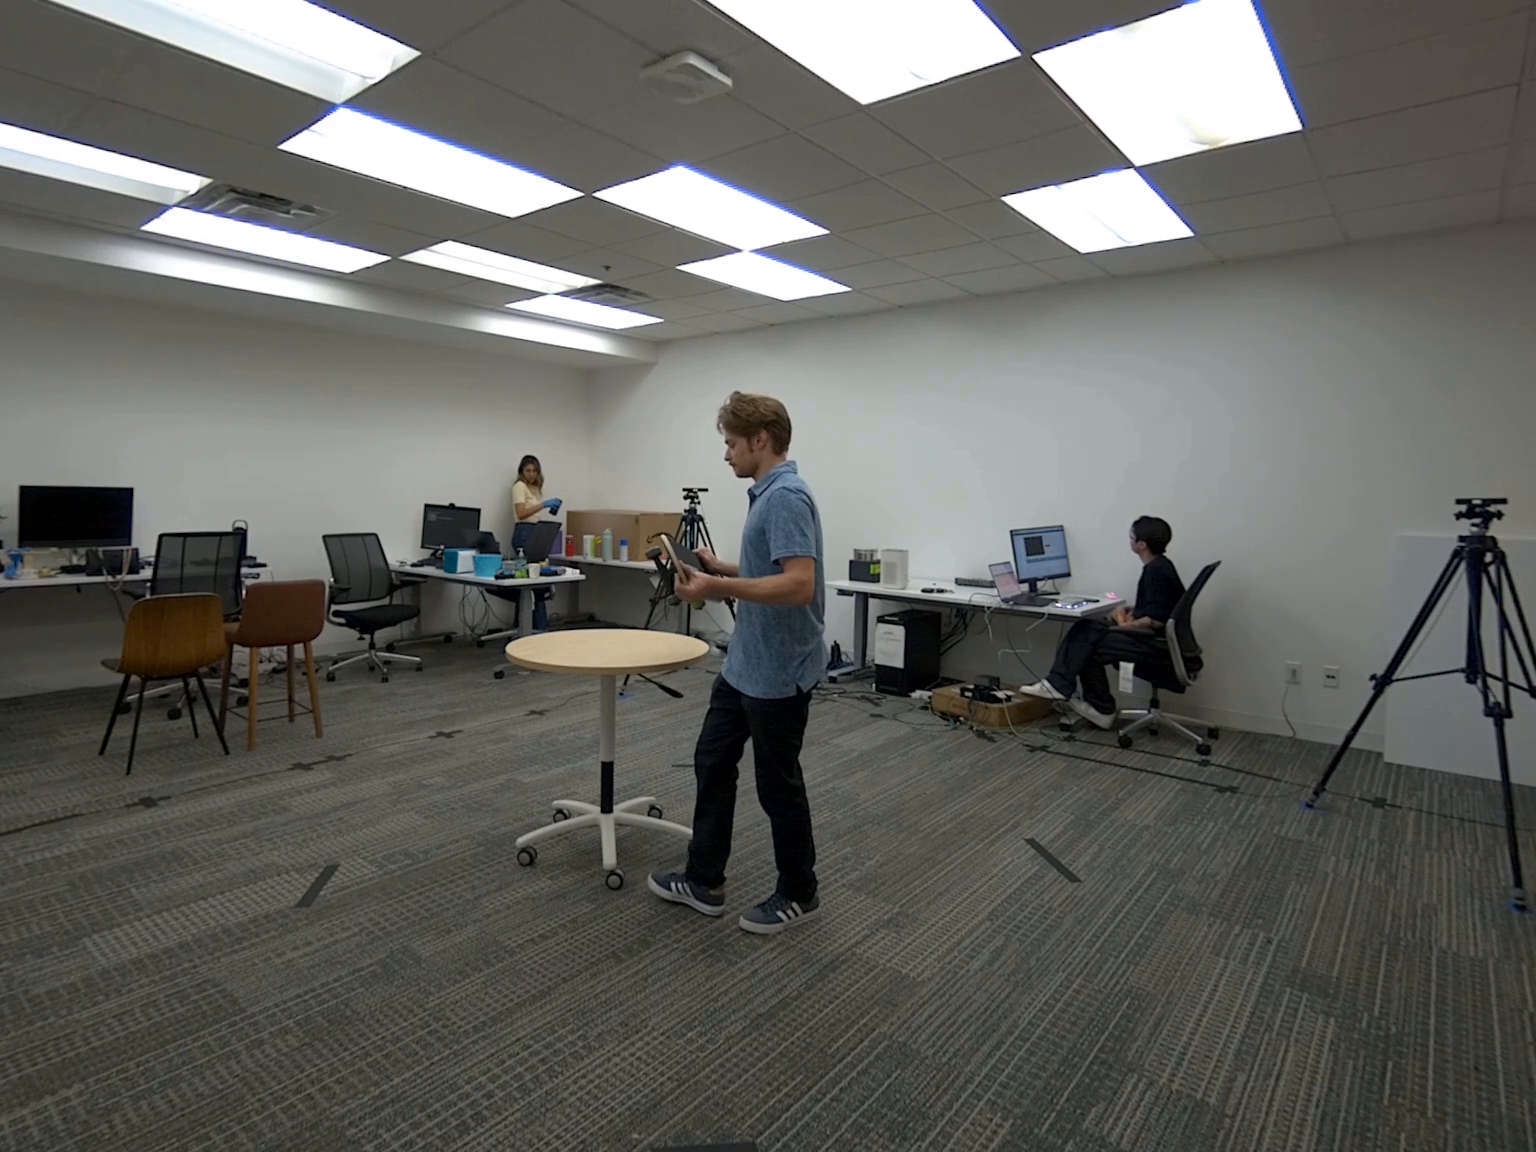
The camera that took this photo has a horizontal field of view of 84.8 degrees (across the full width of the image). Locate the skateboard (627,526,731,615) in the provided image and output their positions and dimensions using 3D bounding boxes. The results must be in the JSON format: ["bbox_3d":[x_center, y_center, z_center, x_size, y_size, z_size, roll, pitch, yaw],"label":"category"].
[{"bbox_3d":[-0.270,-0.002,2.740,0.110,0.196,0.774,-28,-7,3],"label":"skateboard"}]
